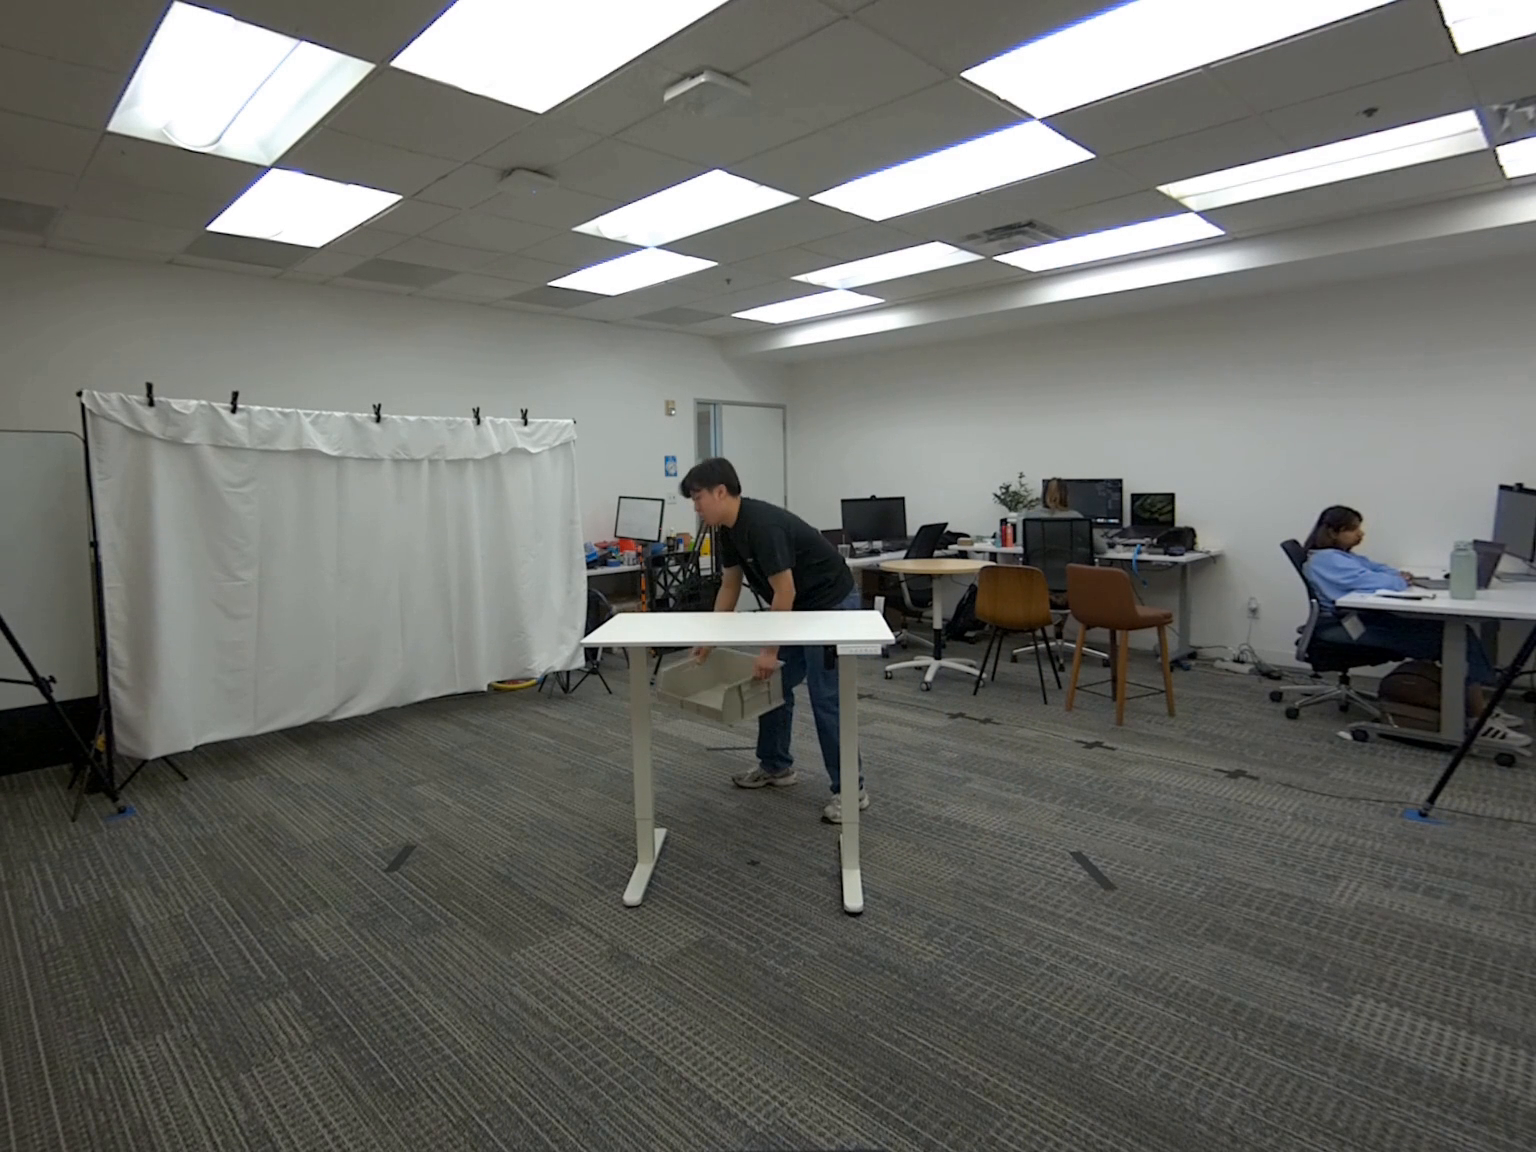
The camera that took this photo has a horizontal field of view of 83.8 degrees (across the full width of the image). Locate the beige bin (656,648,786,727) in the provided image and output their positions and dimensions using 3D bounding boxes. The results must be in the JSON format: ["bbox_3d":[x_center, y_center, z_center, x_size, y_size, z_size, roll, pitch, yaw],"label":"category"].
[{"bbox_3d":[-0.201,0.472,3.640,0.436,0.187,0.369,8,16,44],"label":"beige bin"}]
